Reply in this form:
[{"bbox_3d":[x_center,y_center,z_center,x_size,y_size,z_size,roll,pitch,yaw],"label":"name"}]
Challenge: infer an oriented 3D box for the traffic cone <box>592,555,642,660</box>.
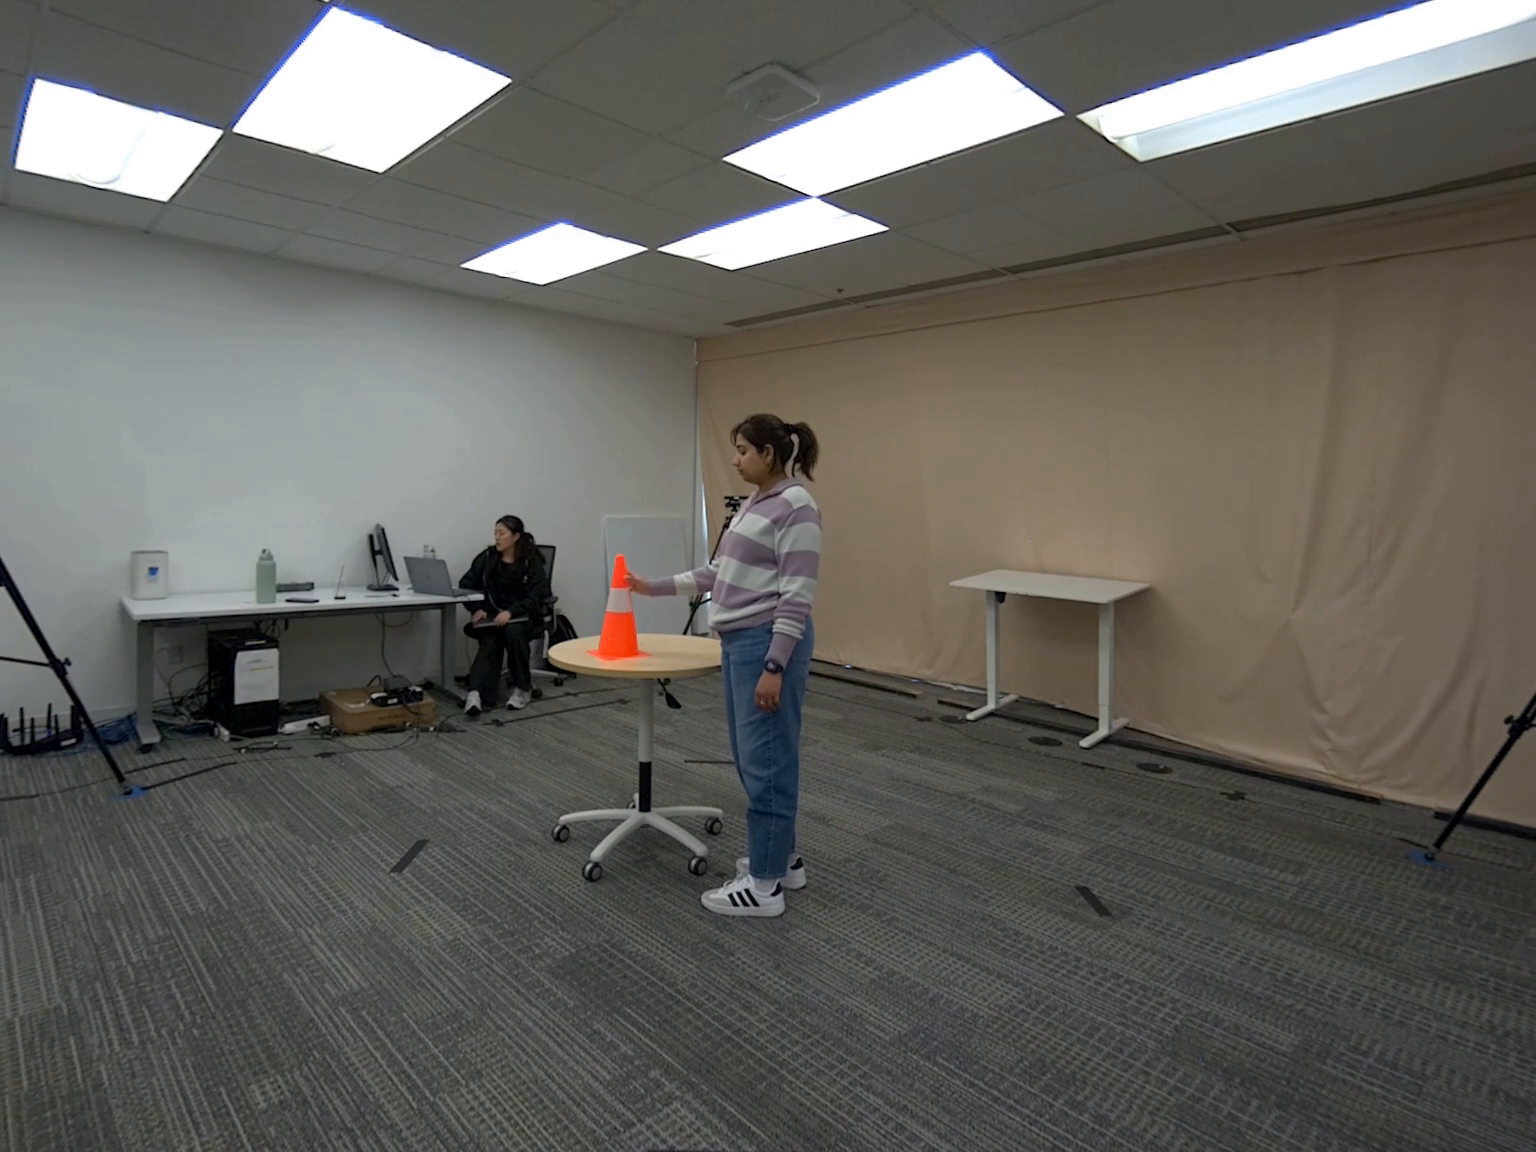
[{"bbox_3d":[-0.566,0.113,3.219,0.200,0.383,0.209,-1,5,-44],"label":"traffic cone"}]
